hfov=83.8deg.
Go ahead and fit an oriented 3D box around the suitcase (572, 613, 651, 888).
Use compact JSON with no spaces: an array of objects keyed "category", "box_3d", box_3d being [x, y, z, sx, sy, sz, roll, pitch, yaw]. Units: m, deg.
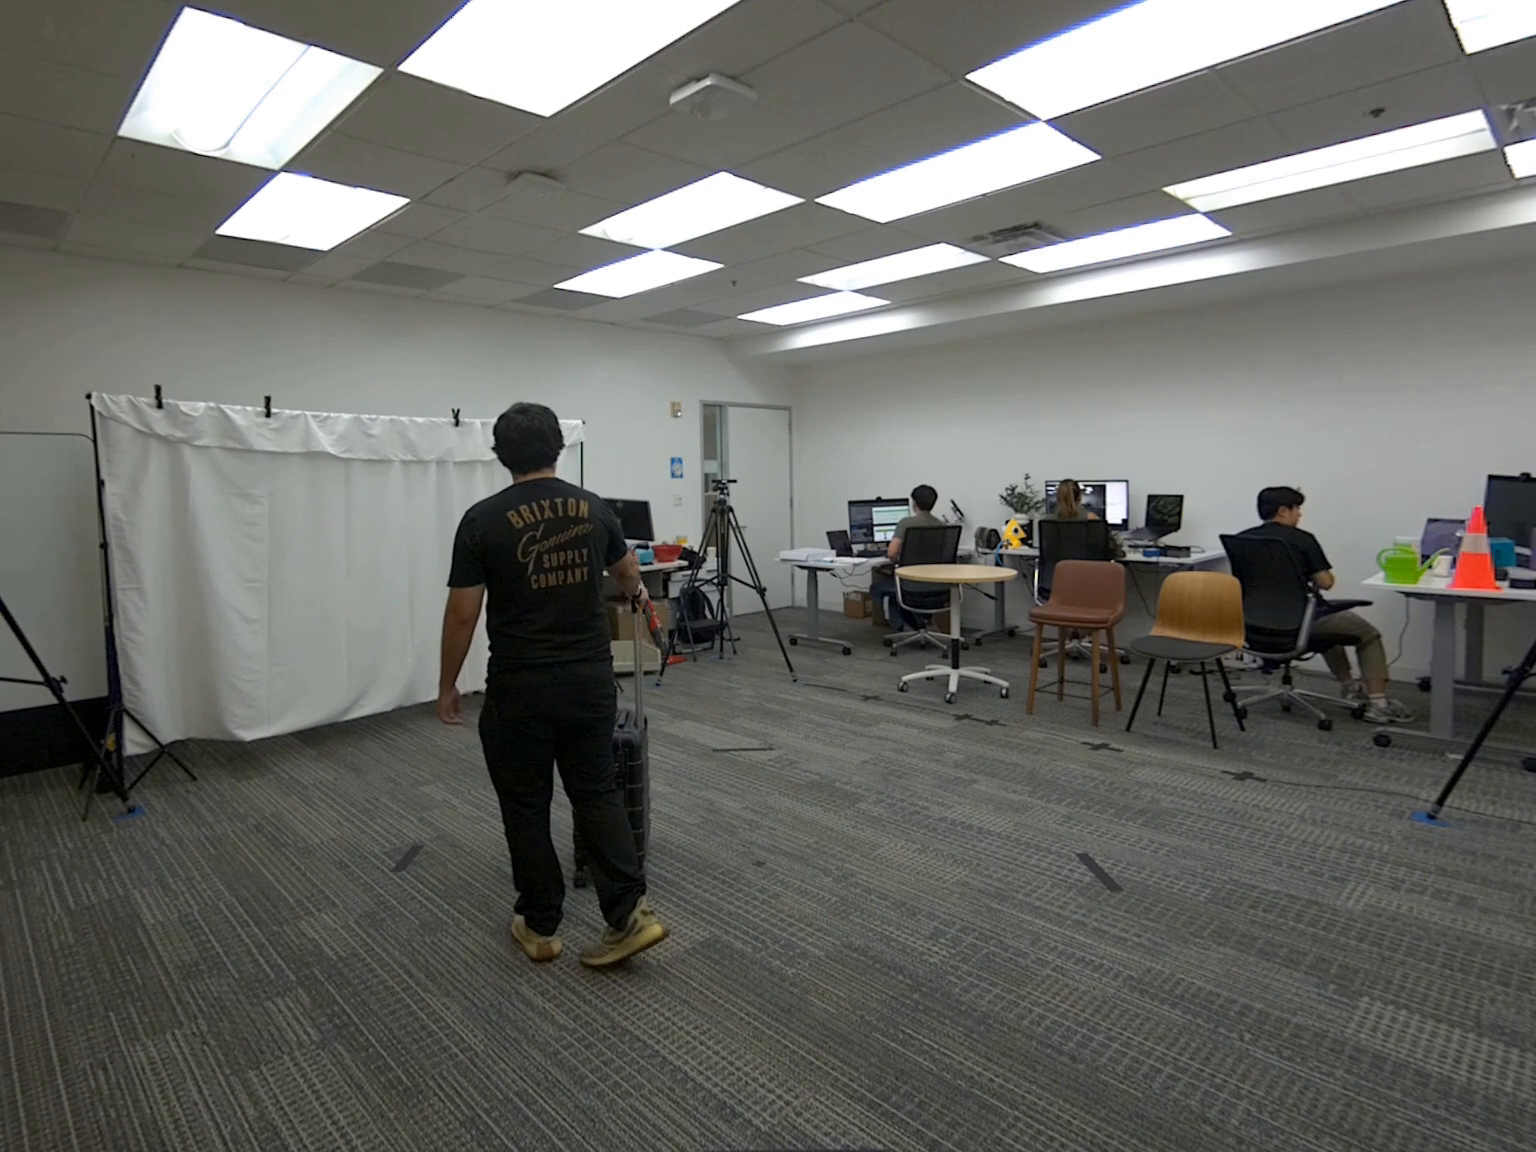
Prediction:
[{"category":"suitcase","box_3d":[-0.568,0.582,3.102,0.256,0.976,0.386,-2,3,-4]}]
